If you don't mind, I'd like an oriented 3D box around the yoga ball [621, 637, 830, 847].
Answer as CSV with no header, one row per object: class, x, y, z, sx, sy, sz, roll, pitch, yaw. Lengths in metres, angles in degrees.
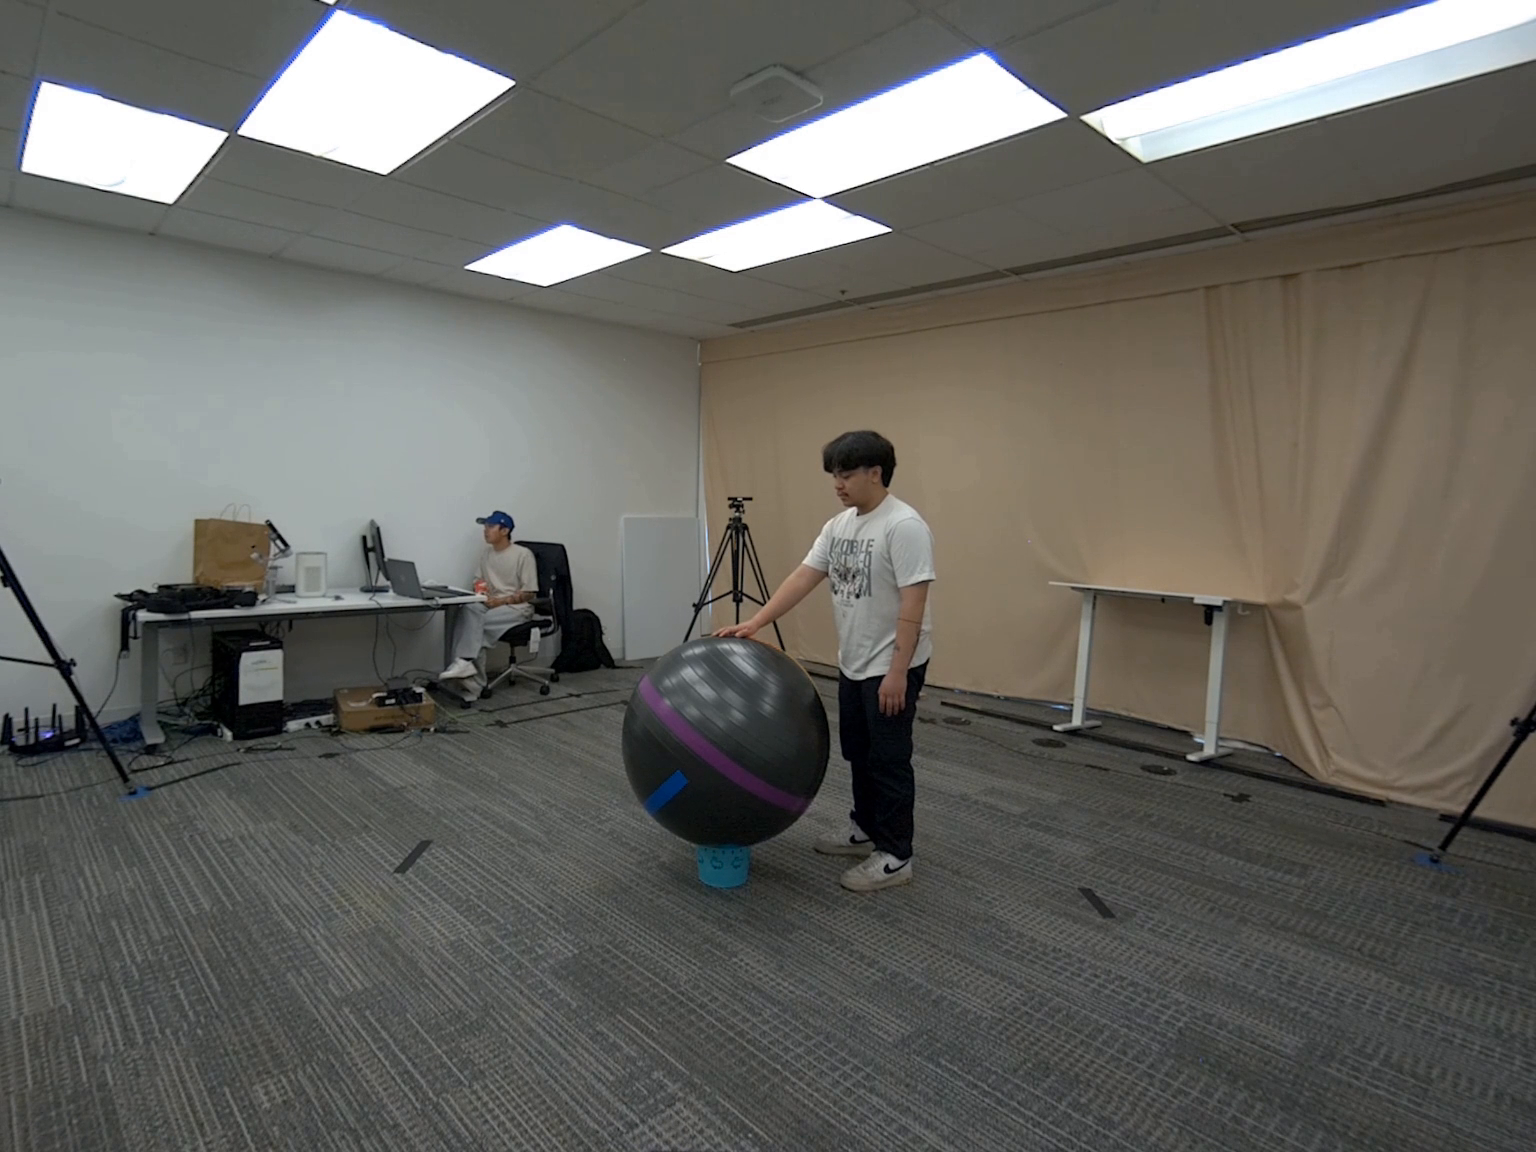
yoga ball,-0.160,0.600,3.090,0.757,0.756,0.761,1,4,-1
